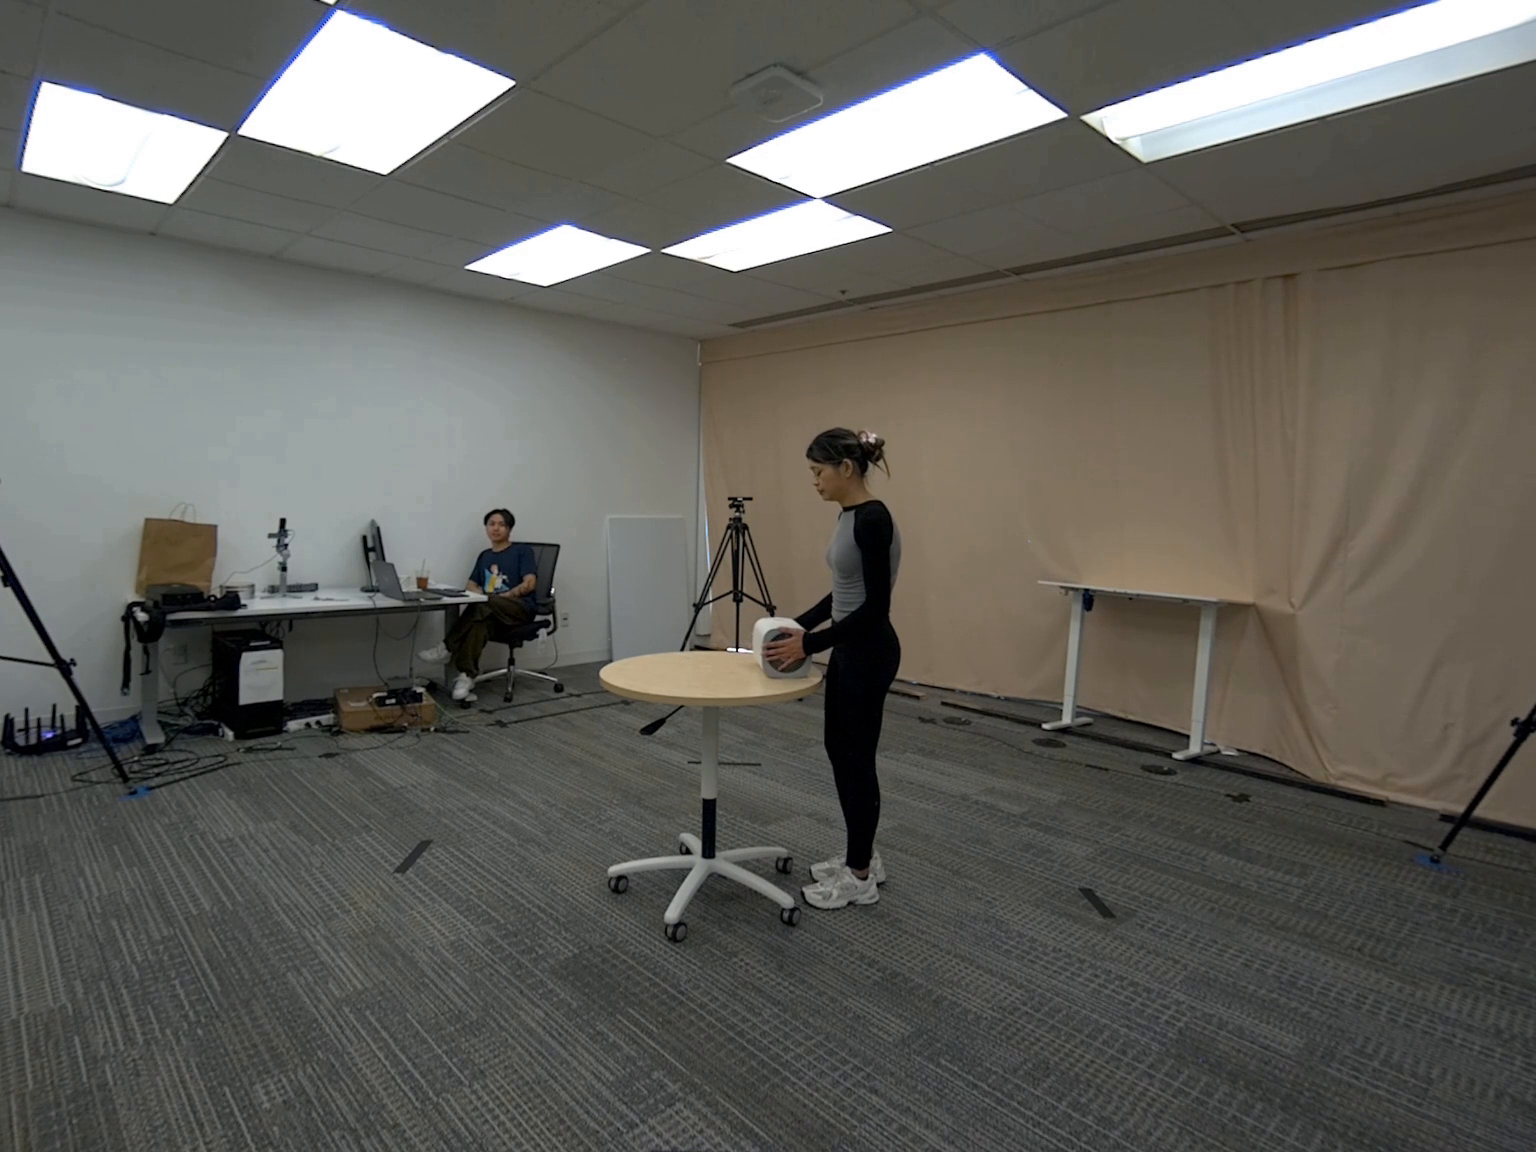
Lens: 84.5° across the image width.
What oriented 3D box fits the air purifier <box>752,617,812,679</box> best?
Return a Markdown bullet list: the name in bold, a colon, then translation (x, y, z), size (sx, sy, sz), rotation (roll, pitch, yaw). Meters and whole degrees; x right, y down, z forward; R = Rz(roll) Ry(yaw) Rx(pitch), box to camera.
- **air purifier**: translation (0.042, 0.246, 2.928), size (0.170, 0.171, 0.267), rotation (0, 5, -7)
